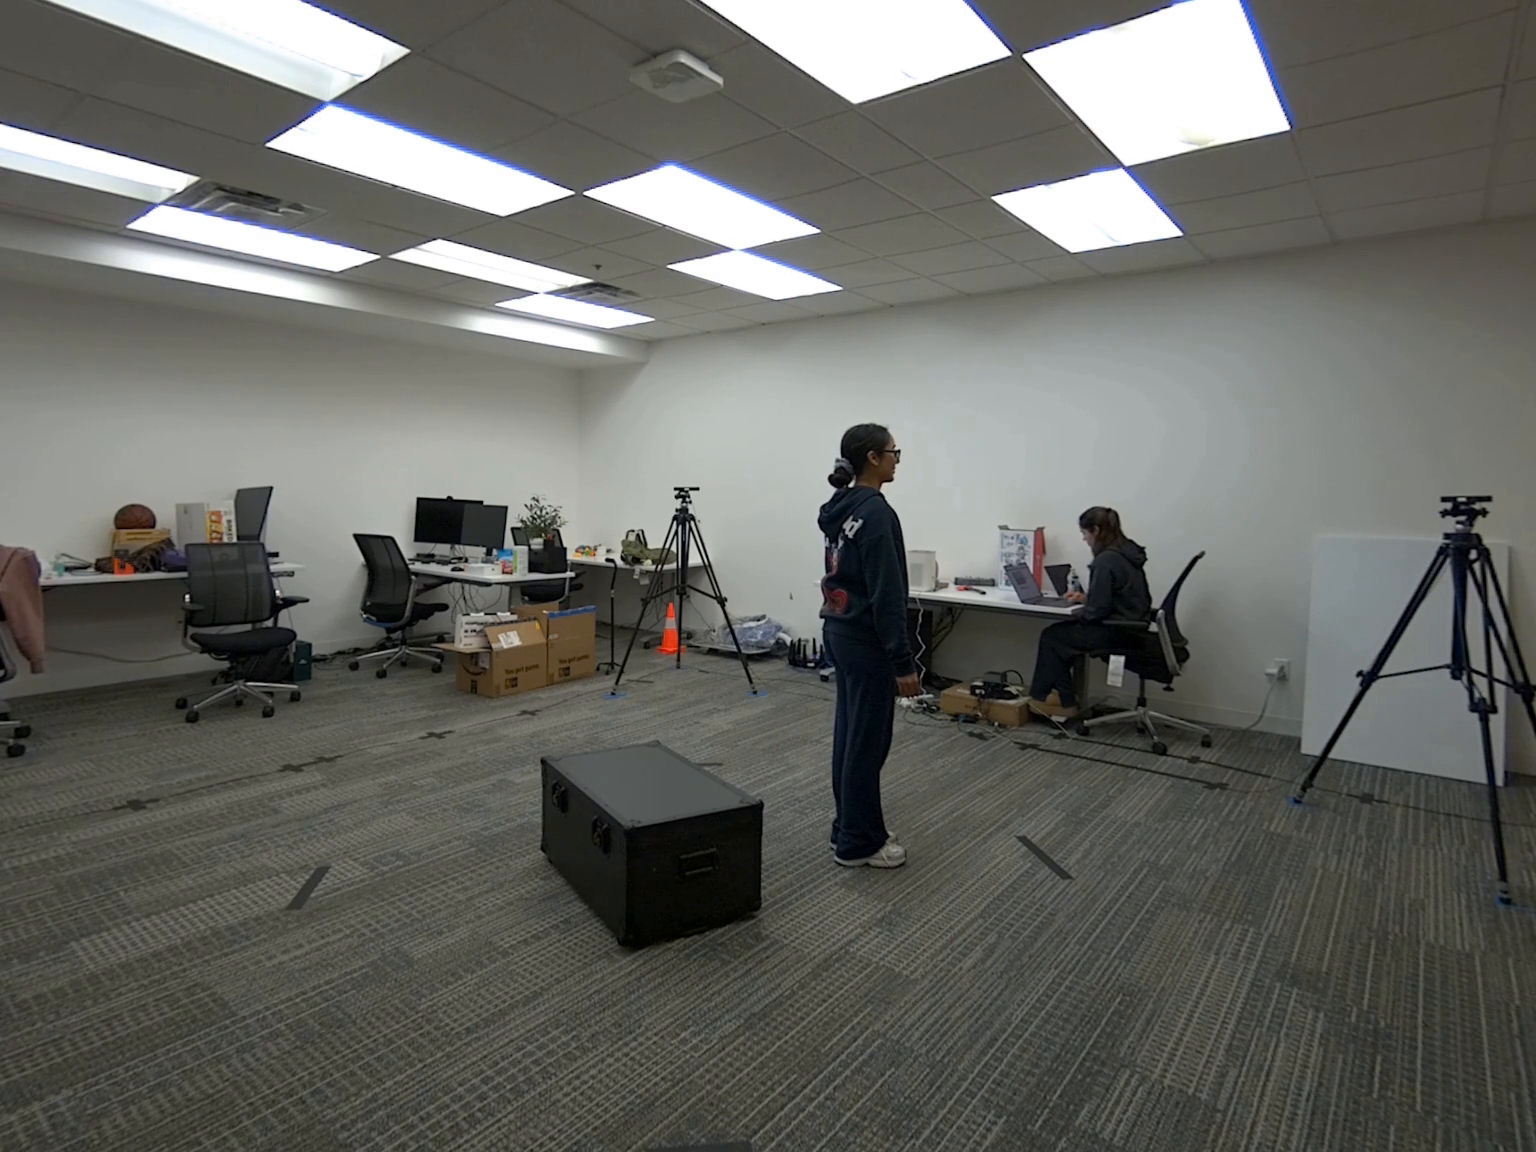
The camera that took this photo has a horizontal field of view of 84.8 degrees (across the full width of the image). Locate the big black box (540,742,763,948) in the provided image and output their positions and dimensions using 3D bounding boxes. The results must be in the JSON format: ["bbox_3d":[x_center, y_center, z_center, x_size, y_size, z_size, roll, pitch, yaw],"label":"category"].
[{"bbox_3d":[-0.474,0.895,2.982,0.384,0.520,0.890,1,4,-36],"label":"big black box"}]
